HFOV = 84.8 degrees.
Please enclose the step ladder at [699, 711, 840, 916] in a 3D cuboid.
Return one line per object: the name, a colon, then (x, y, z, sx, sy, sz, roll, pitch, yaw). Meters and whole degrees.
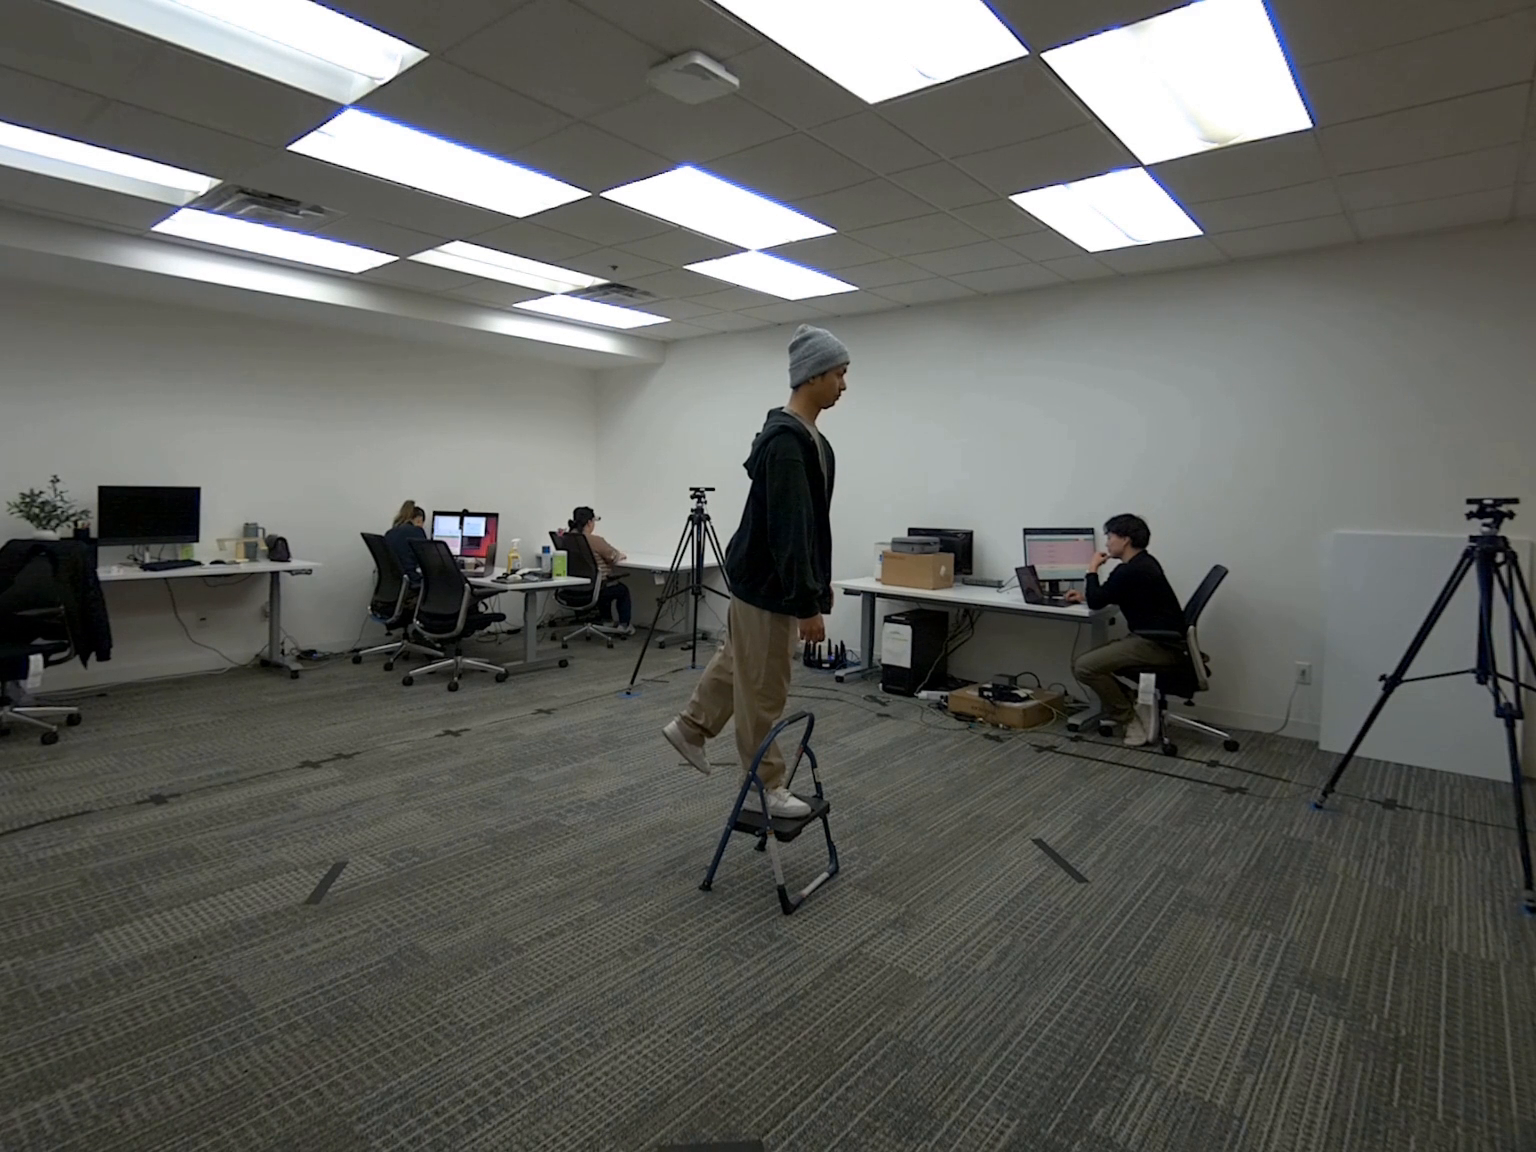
step ladder: (0.015, 0.778, 3.018, 0.359, 0.604, 0.420, 3, 4, 29)
